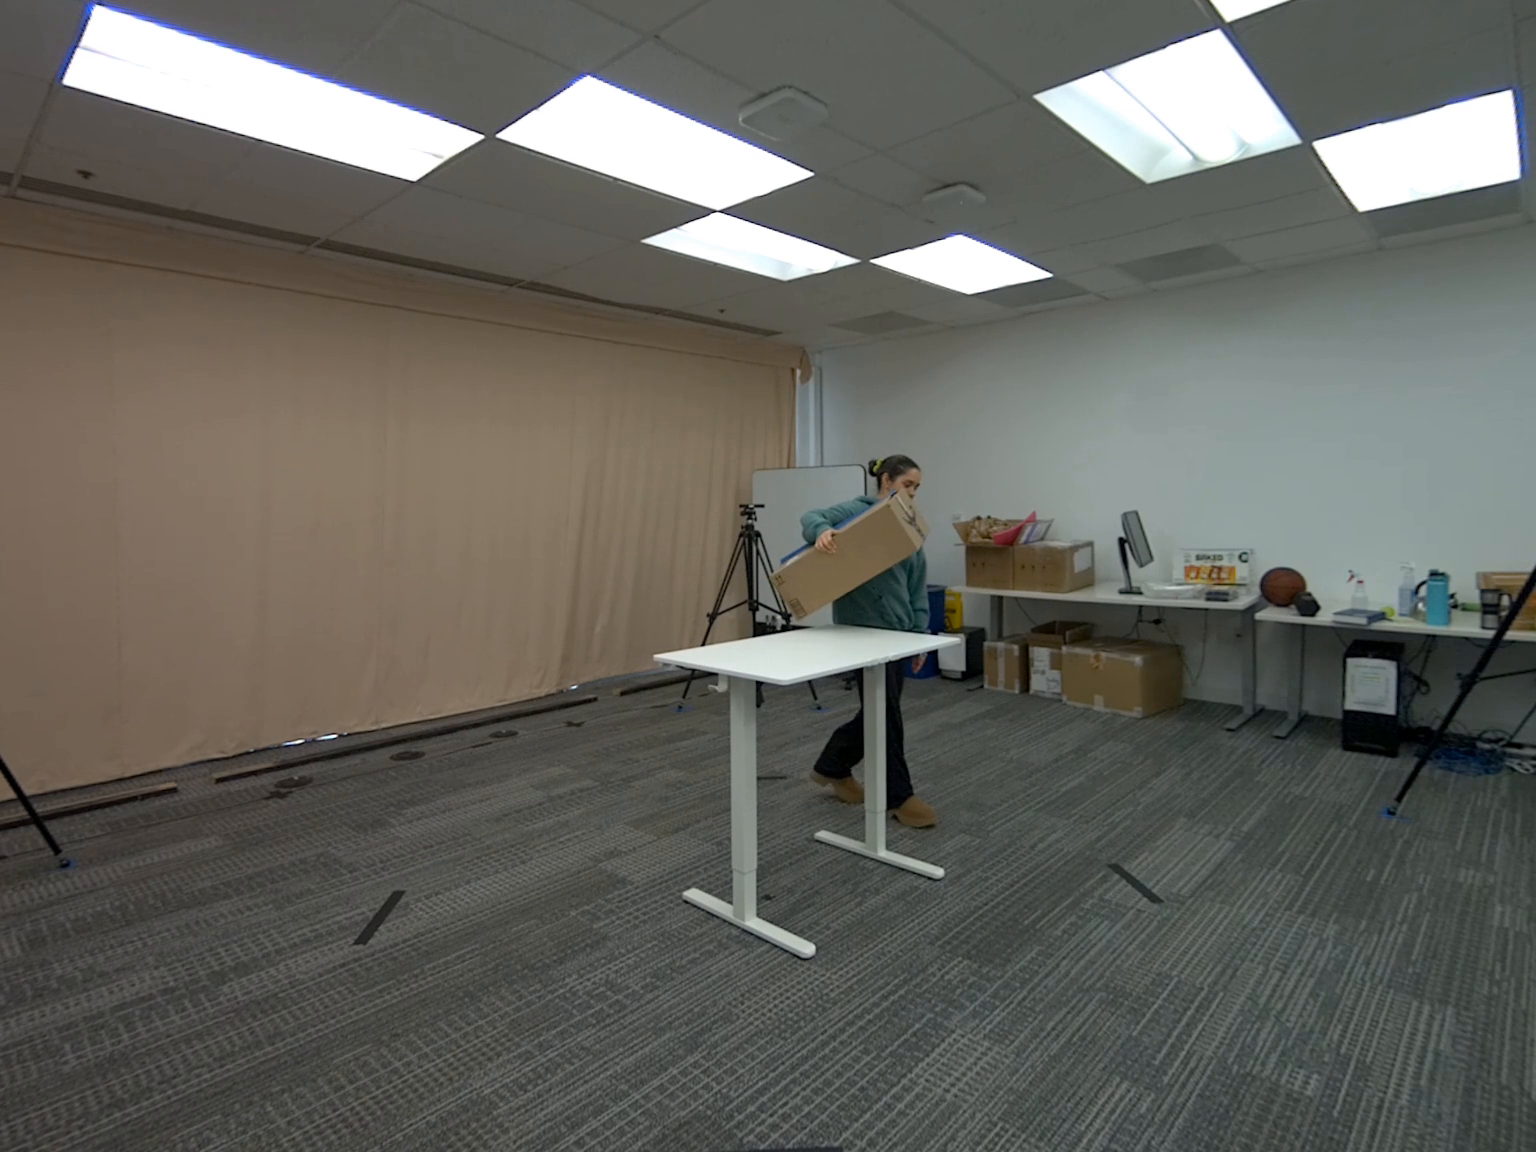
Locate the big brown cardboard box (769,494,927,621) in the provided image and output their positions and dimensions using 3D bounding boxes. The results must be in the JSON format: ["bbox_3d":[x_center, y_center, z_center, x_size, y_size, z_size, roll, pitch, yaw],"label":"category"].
[{"bbox_3d":[0.340,-0.090,3.451,0.596,0.233,0.413,-31,2,22],"label":"big brown cardboard box"}]
